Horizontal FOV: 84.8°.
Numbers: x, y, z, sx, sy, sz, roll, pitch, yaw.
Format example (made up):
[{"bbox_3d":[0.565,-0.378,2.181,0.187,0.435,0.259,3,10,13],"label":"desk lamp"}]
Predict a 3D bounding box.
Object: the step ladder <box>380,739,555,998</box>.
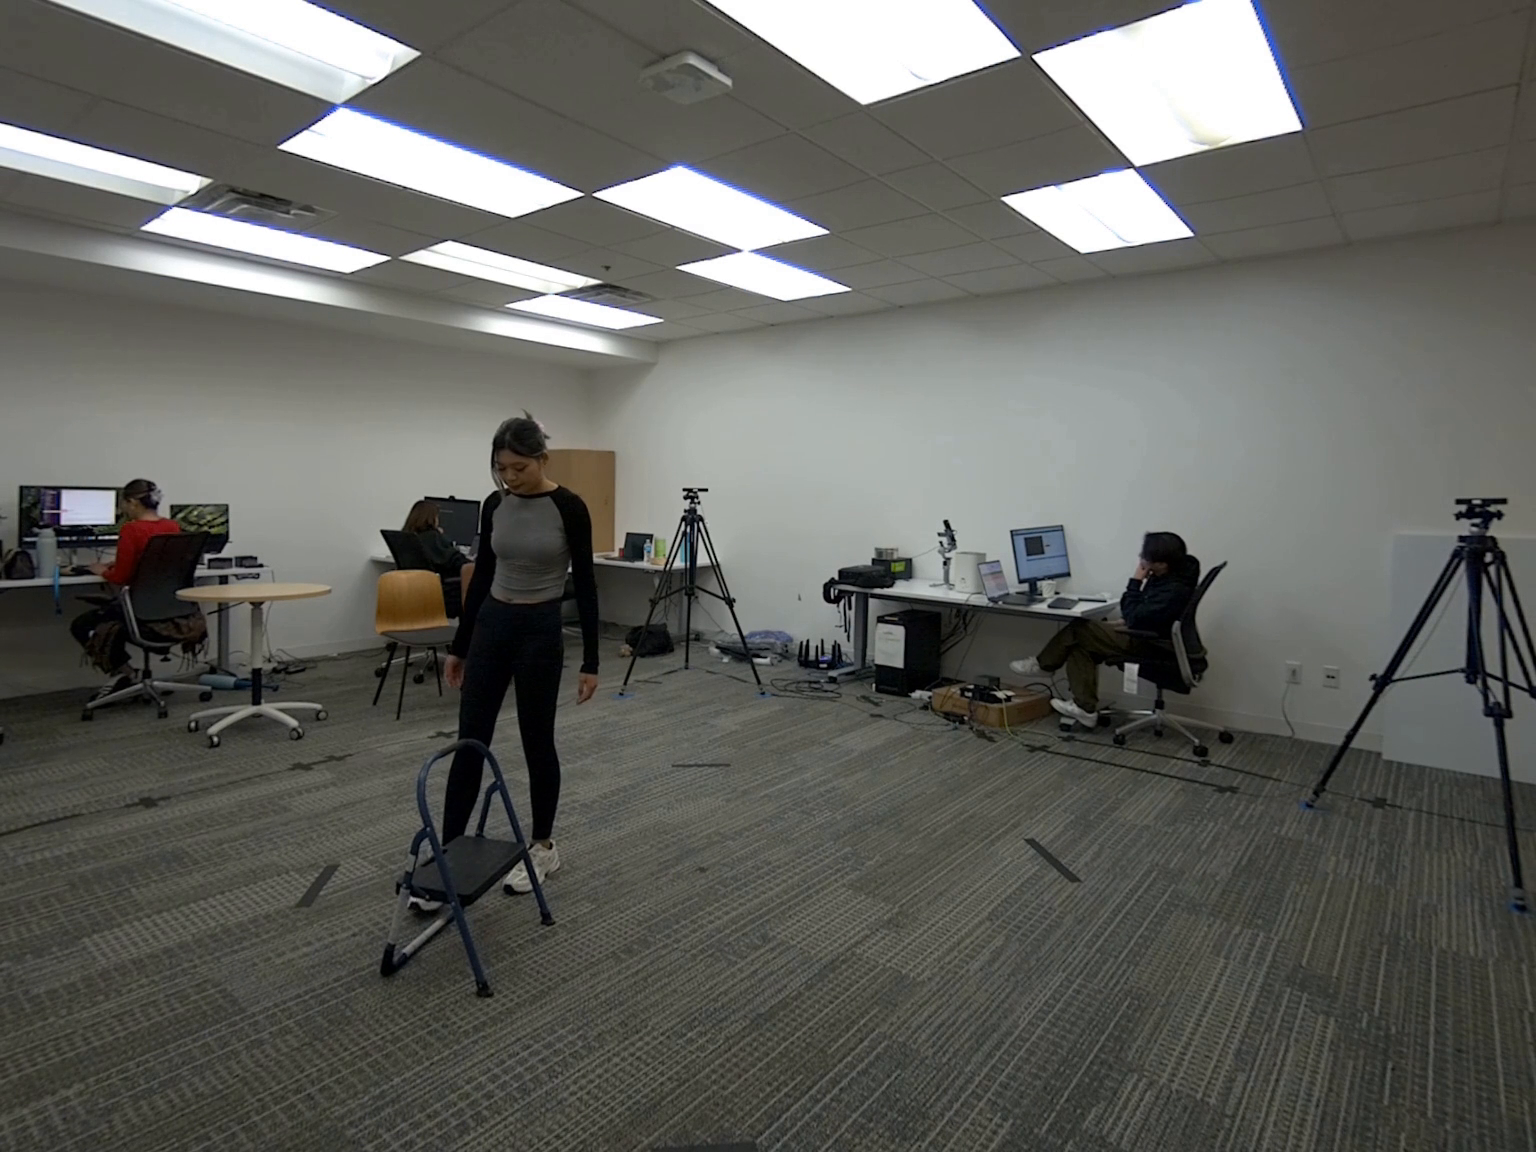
[{"bbox_3d":[-0.892,0.817,2.536,0.354,0.604,0.425,2,3,12],"label":"step ladder"}]
